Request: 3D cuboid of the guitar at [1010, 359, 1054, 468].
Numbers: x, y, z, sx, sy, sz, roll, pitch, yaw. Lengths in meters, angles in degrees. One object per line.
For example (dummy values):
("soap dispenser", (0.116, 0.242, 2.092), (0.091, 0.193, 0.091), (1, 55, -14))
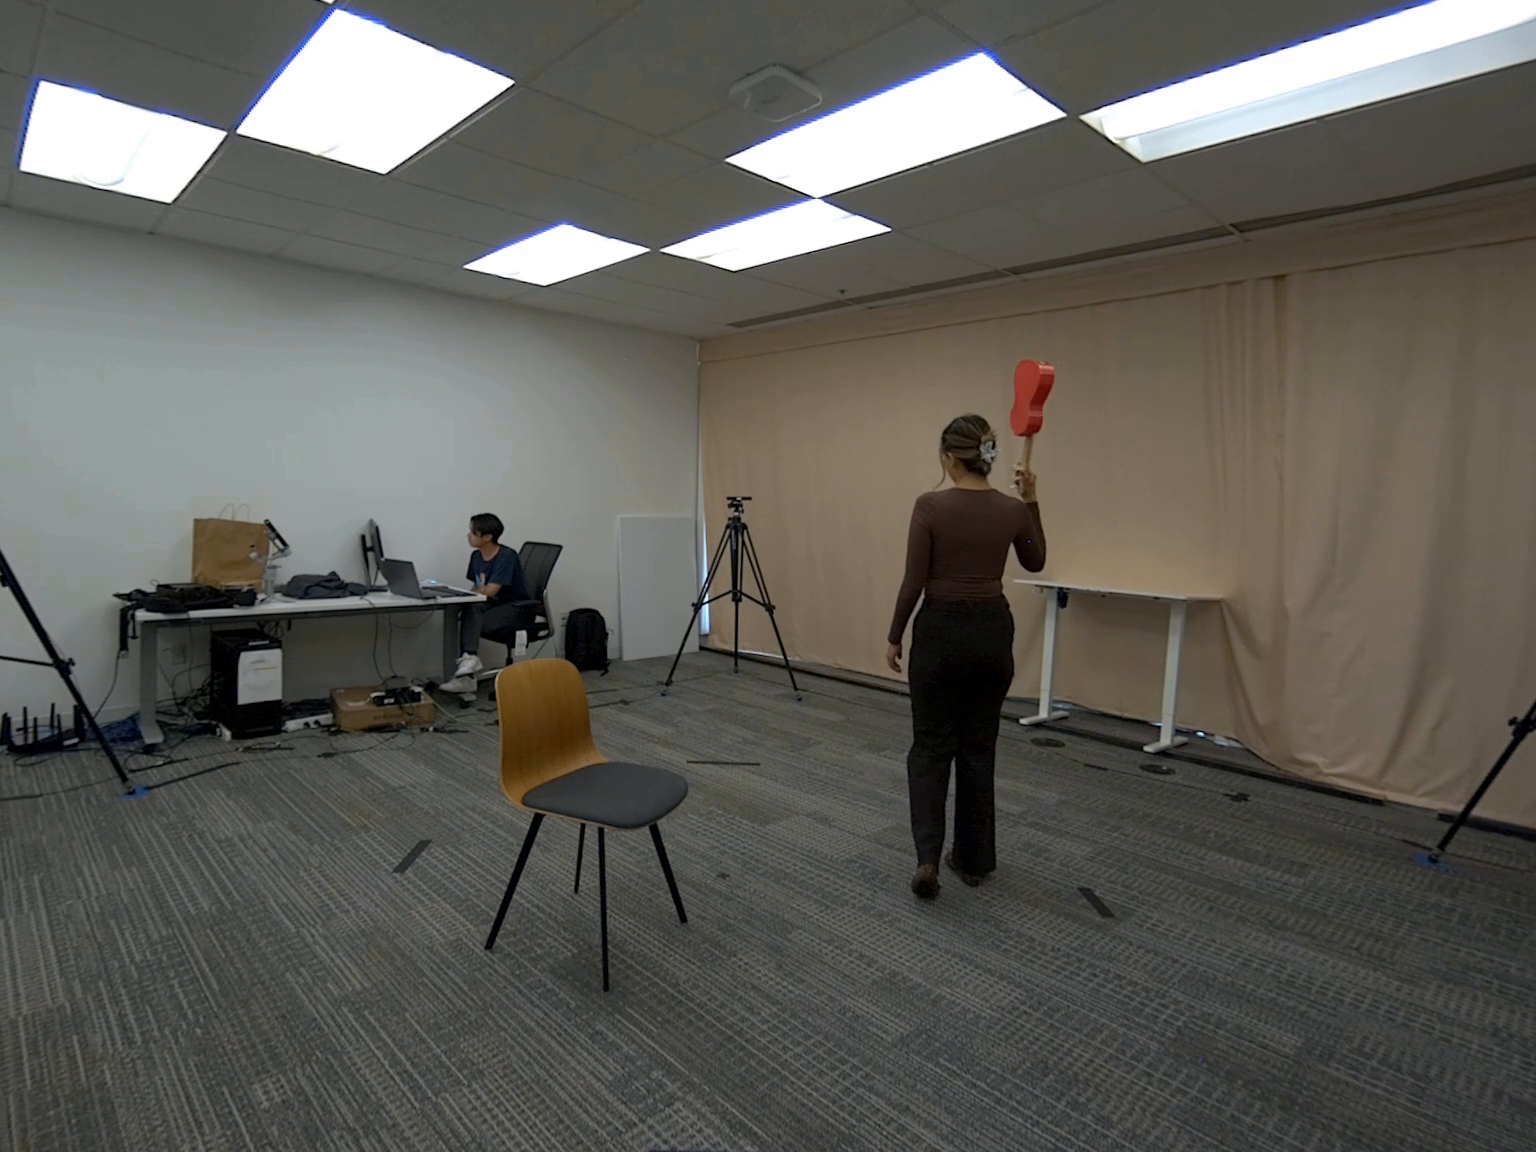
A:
("guitar", (0.943, -0.538, 3.089), (0.070, 0.495, 0.195), (3, 9, -7))
